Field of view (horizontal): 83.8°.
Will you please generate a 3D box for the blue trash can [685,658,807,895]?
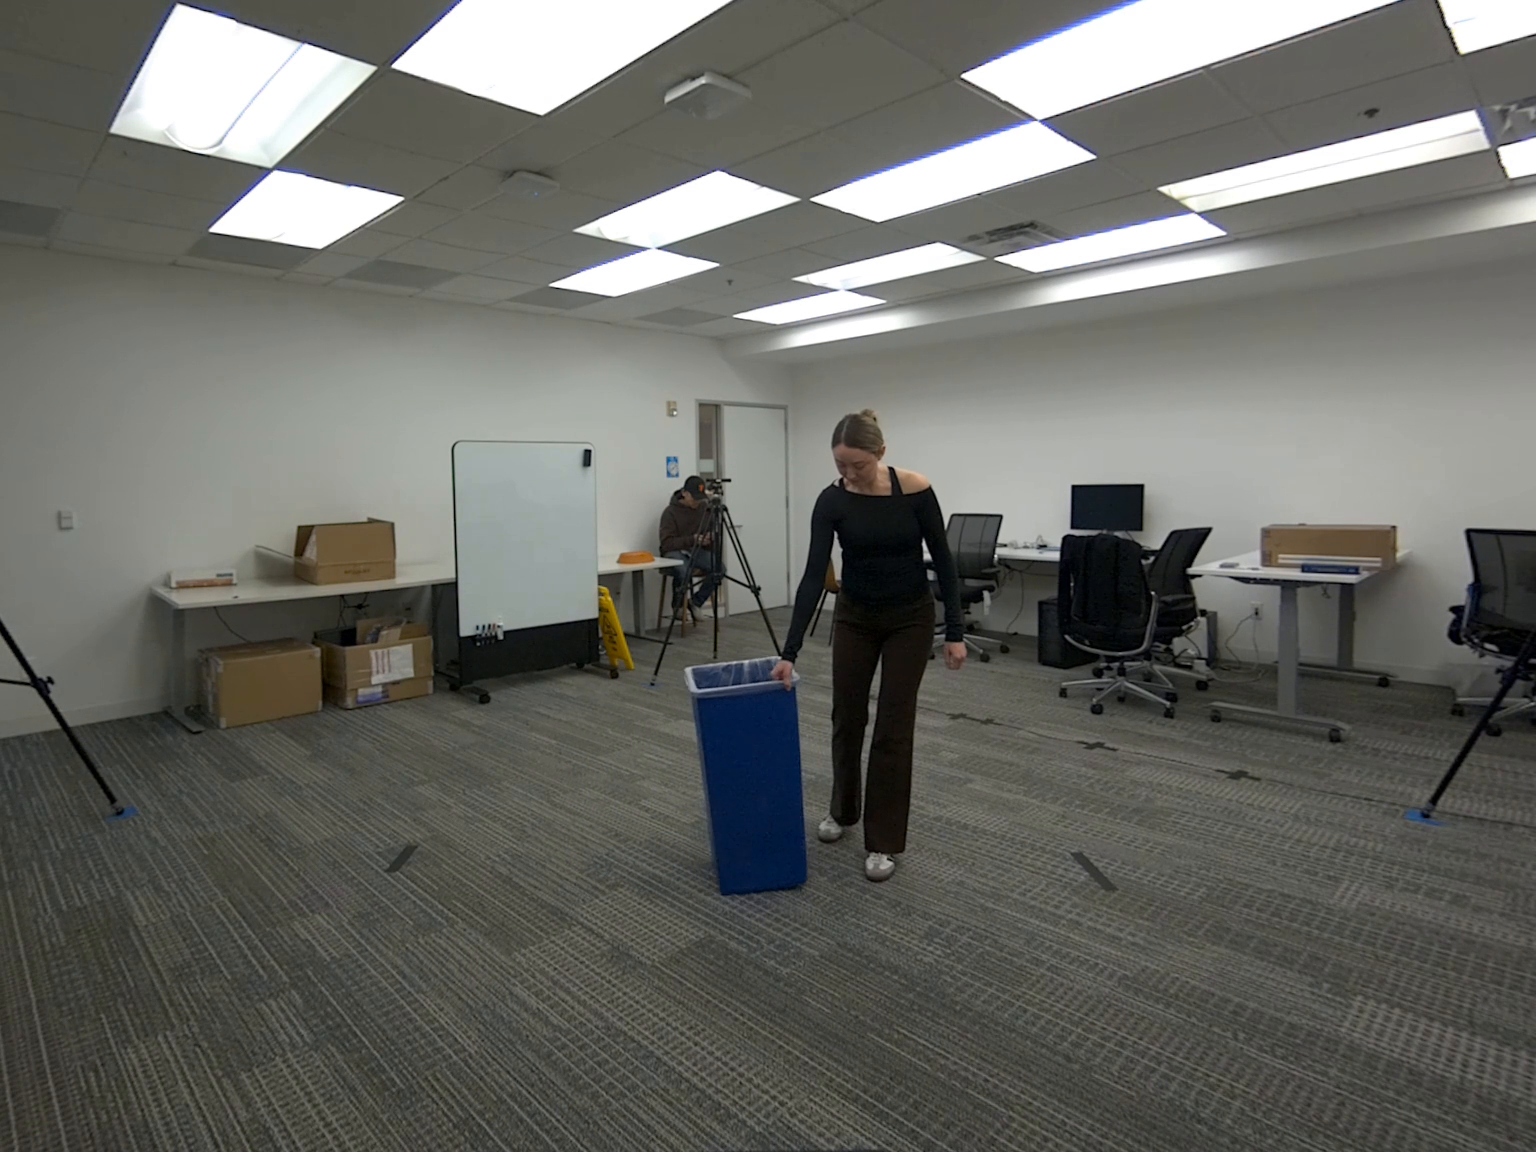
[{"bbox_3d":[-0.054,0.689,3.001,0.376,0.711,0.377,-6,4,-6],"label":"blue trash can"}]
